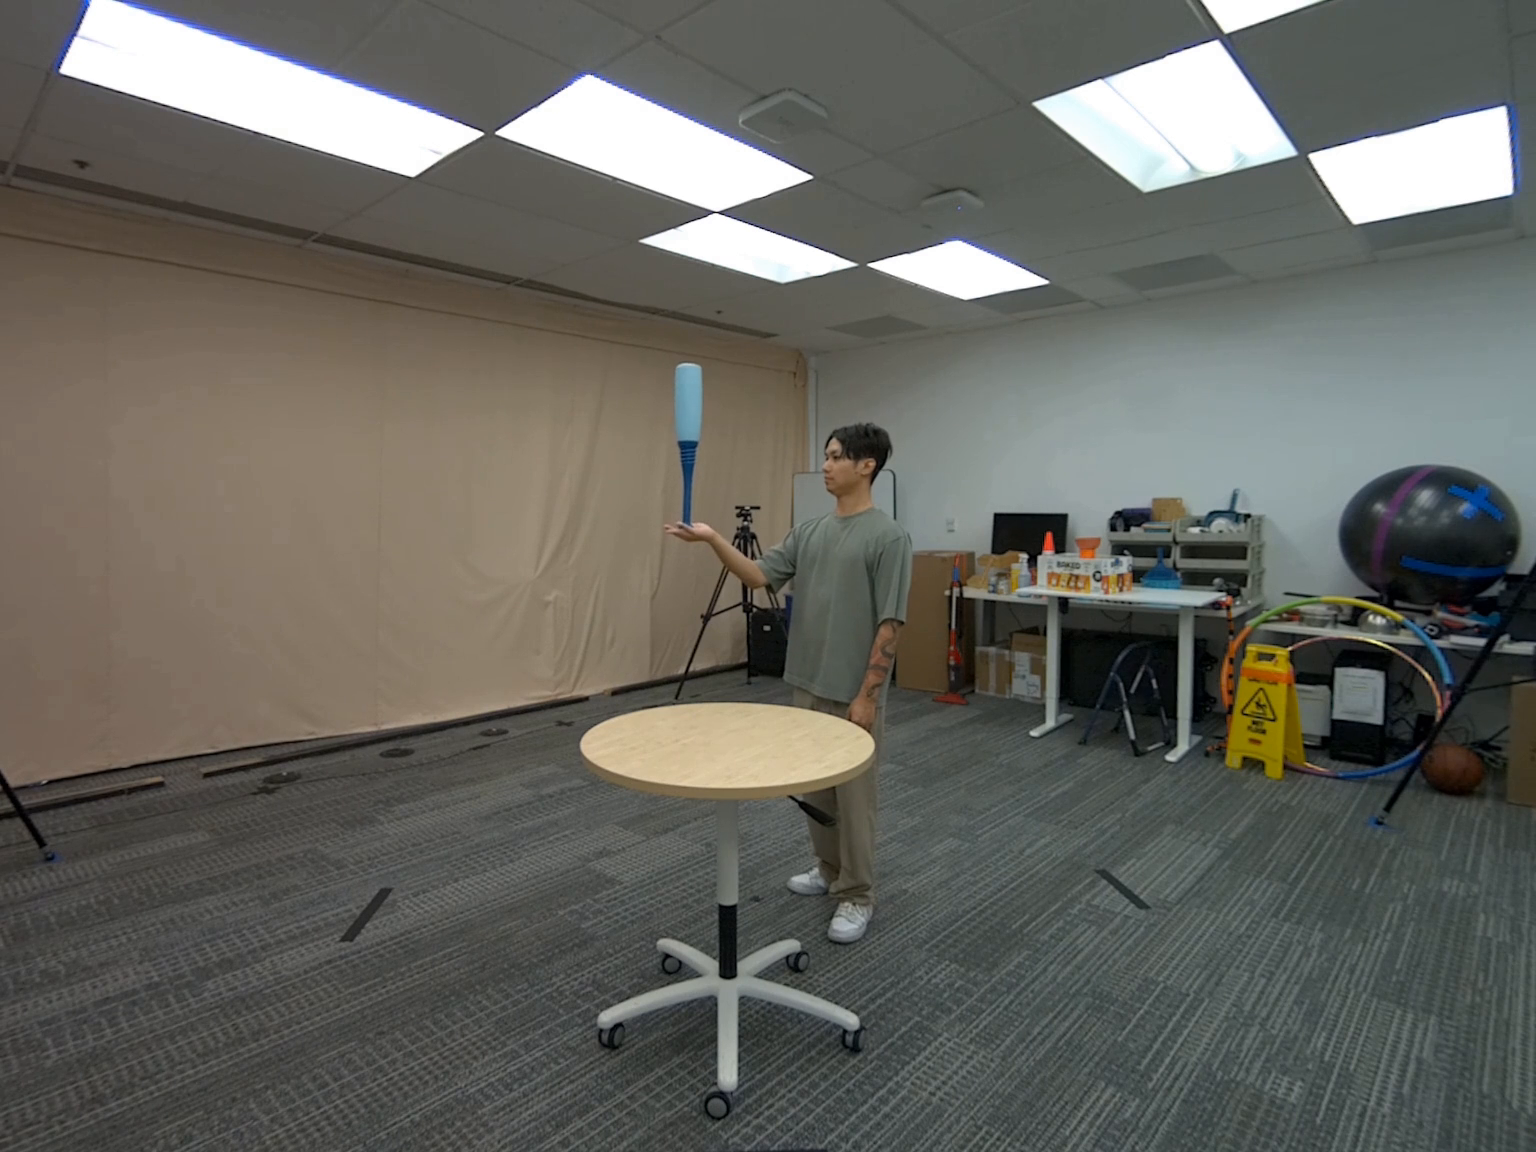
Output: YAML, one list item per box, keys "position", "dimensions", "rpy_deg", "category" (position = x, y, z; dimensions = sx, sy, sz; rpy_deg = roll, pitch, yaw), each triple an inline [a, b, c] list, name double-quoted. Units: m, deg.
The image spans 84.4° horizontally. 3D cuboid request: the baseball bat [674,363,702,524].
- position: [-0.255, -0.416, 2.734]
  dimensions: [0.089, 0.543, 0.089]
  rpy_deg: [2, 0, -2]
  category: "baseball bat"
